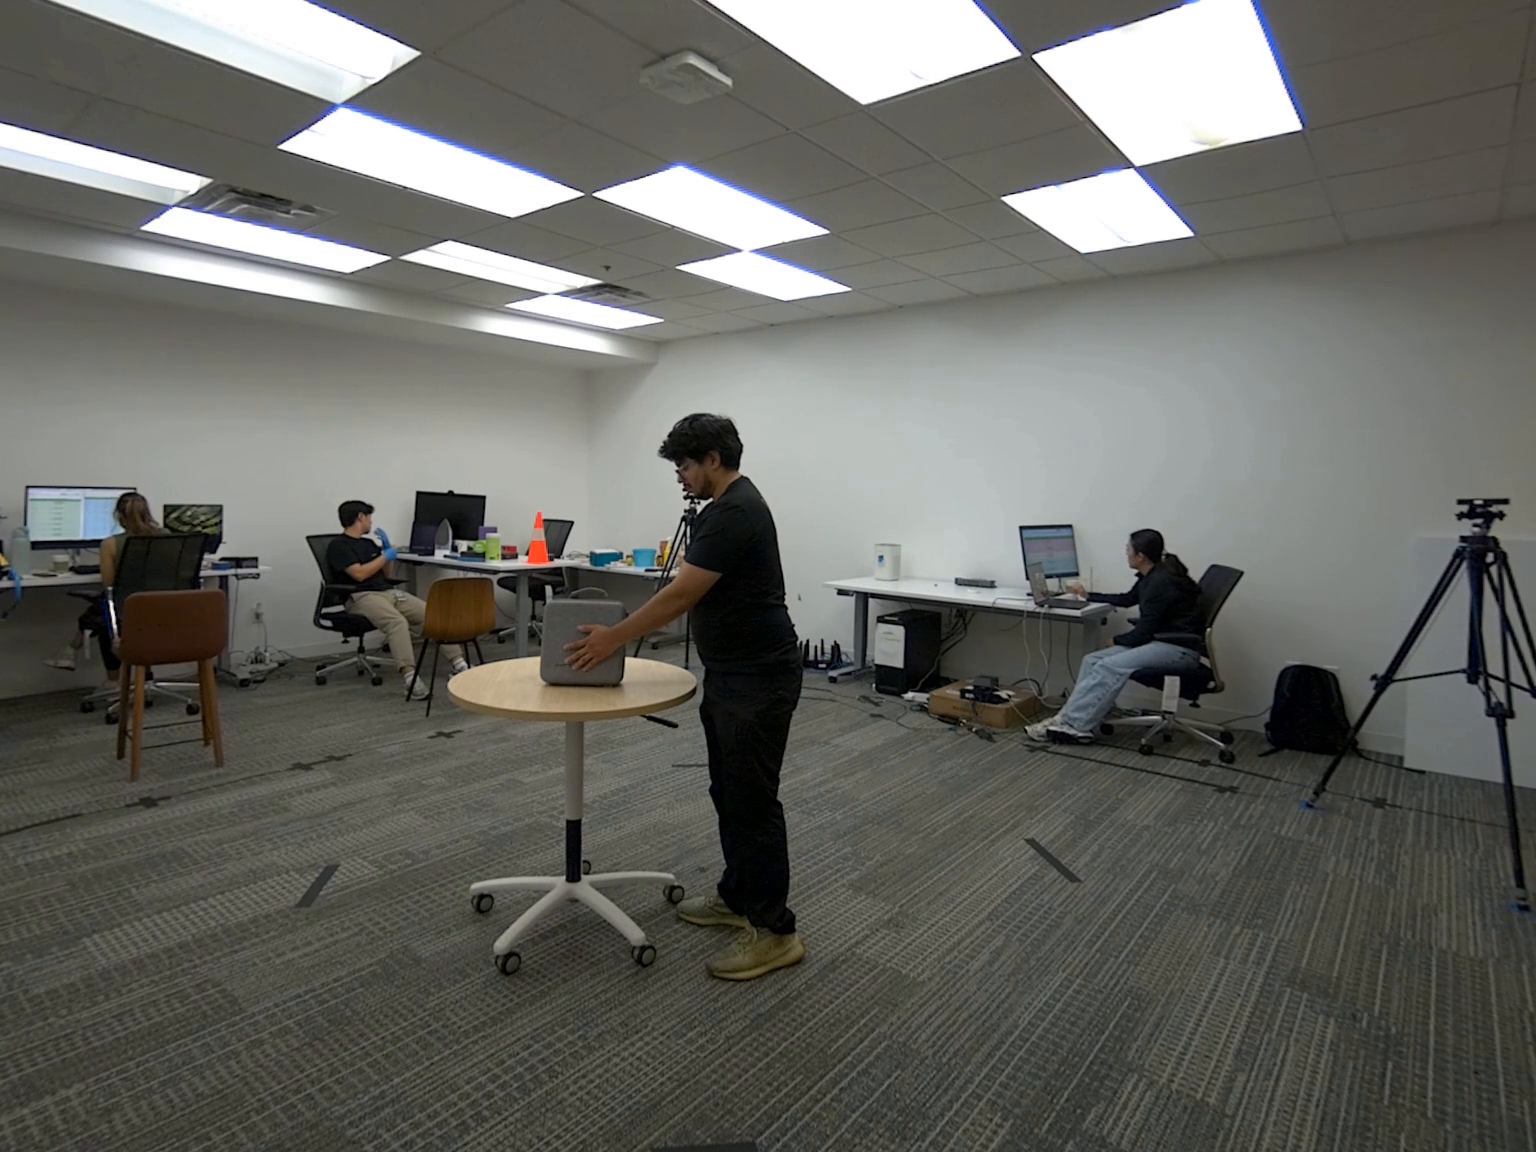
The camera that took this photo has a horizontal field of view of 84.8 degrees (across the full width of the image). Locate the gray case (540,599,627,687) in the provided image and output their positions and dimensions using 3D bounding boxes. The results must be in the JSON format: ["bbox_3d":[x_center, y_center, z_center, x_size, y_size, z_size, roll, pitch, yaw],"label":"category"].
[{"bbox_3d":[-0.580,0.196,2.634,0.257,0.262,0.103,2,-6,1],"label":"gray case"}]
